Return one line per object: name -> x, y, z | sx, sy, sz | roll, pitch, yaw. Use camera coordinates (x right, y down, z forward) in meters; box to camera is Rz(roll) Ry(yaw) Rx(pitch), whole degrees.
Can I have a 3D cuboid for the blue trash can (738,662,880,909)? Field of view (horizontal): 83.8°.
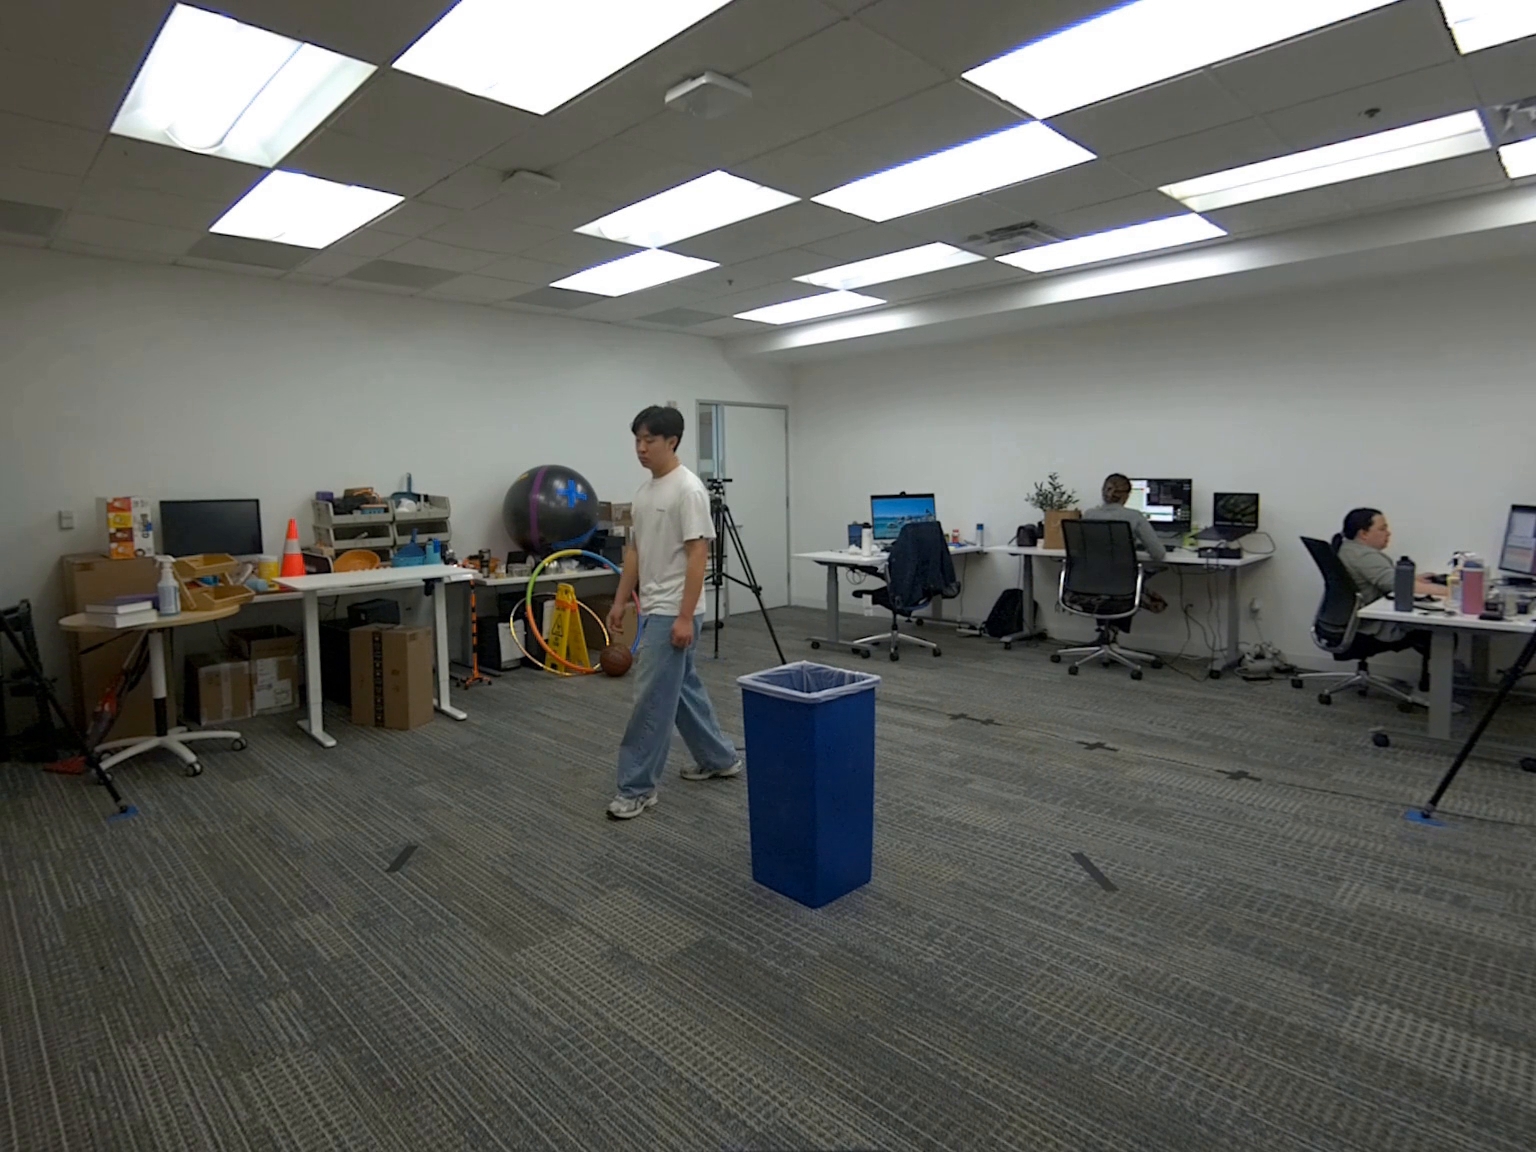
blue trash can -> 0.146, 0.701, 2.942 | 0.364, 0.711, 0.389 | -4, 5, -44
